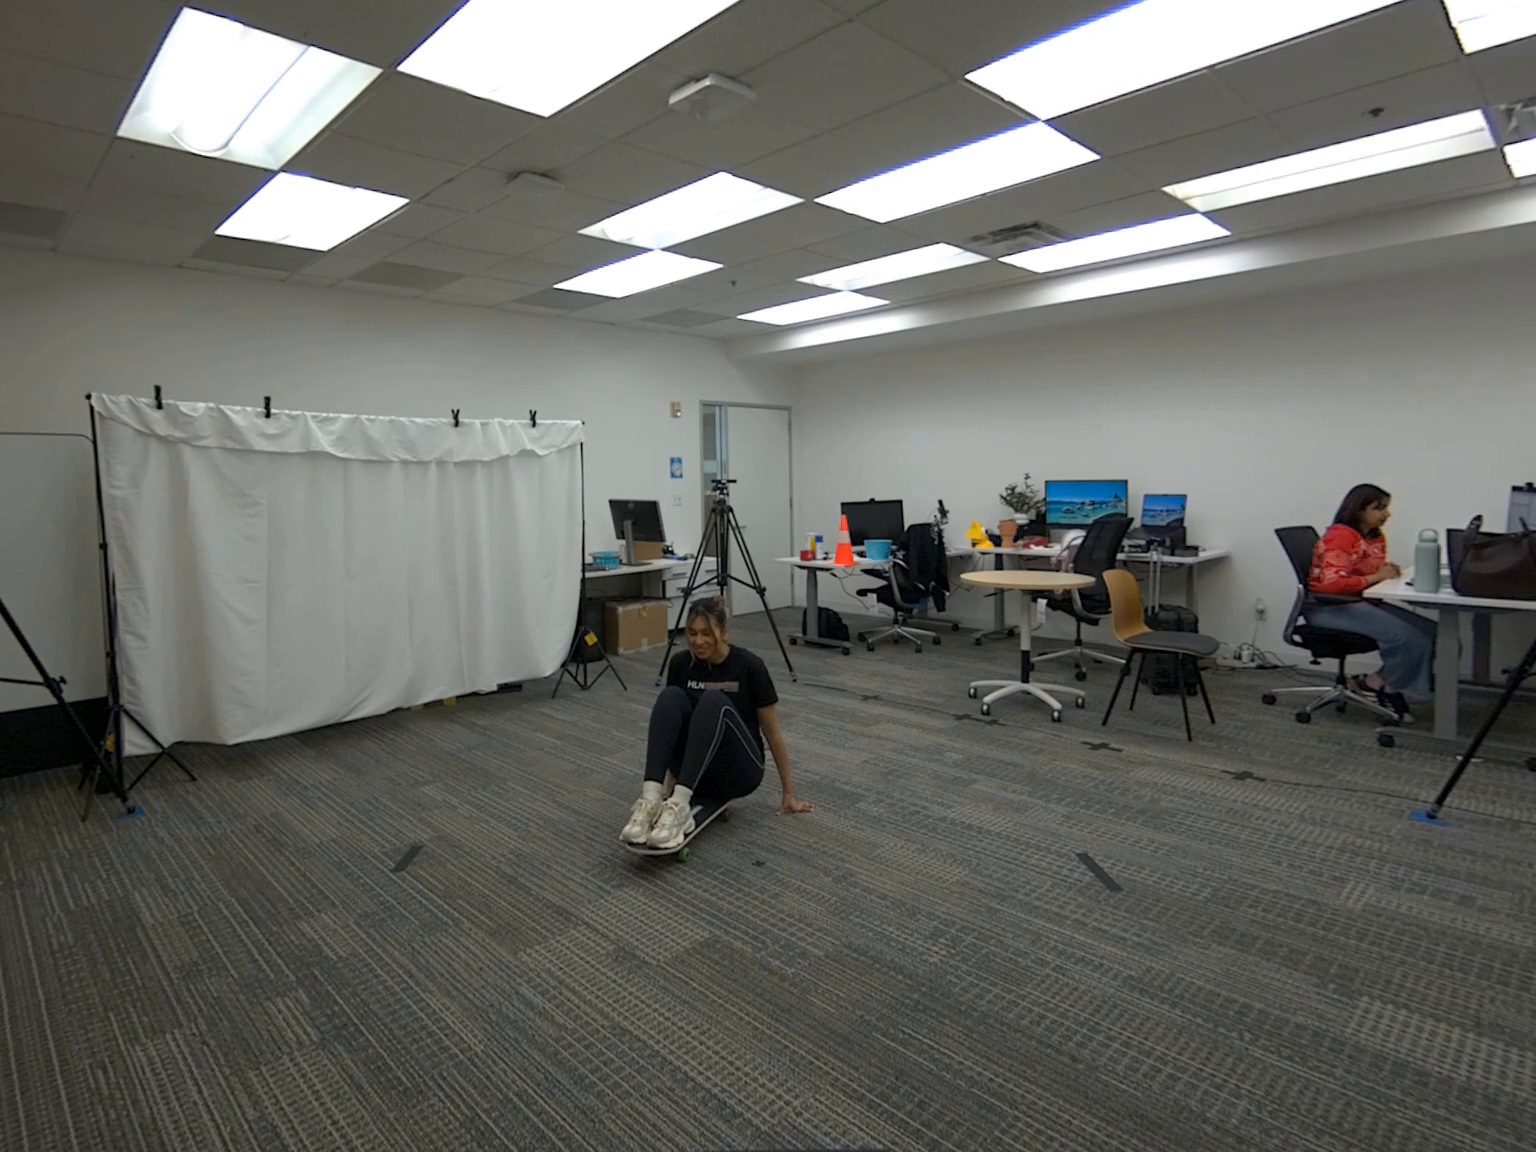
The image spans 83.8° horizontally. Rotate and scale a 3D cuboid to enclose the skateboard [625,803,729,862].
[{"bbox_3d":[-0.320,0.977,3.353,0.197,0.110,0.773,-1,6,20],"label":"skateboard"}]
